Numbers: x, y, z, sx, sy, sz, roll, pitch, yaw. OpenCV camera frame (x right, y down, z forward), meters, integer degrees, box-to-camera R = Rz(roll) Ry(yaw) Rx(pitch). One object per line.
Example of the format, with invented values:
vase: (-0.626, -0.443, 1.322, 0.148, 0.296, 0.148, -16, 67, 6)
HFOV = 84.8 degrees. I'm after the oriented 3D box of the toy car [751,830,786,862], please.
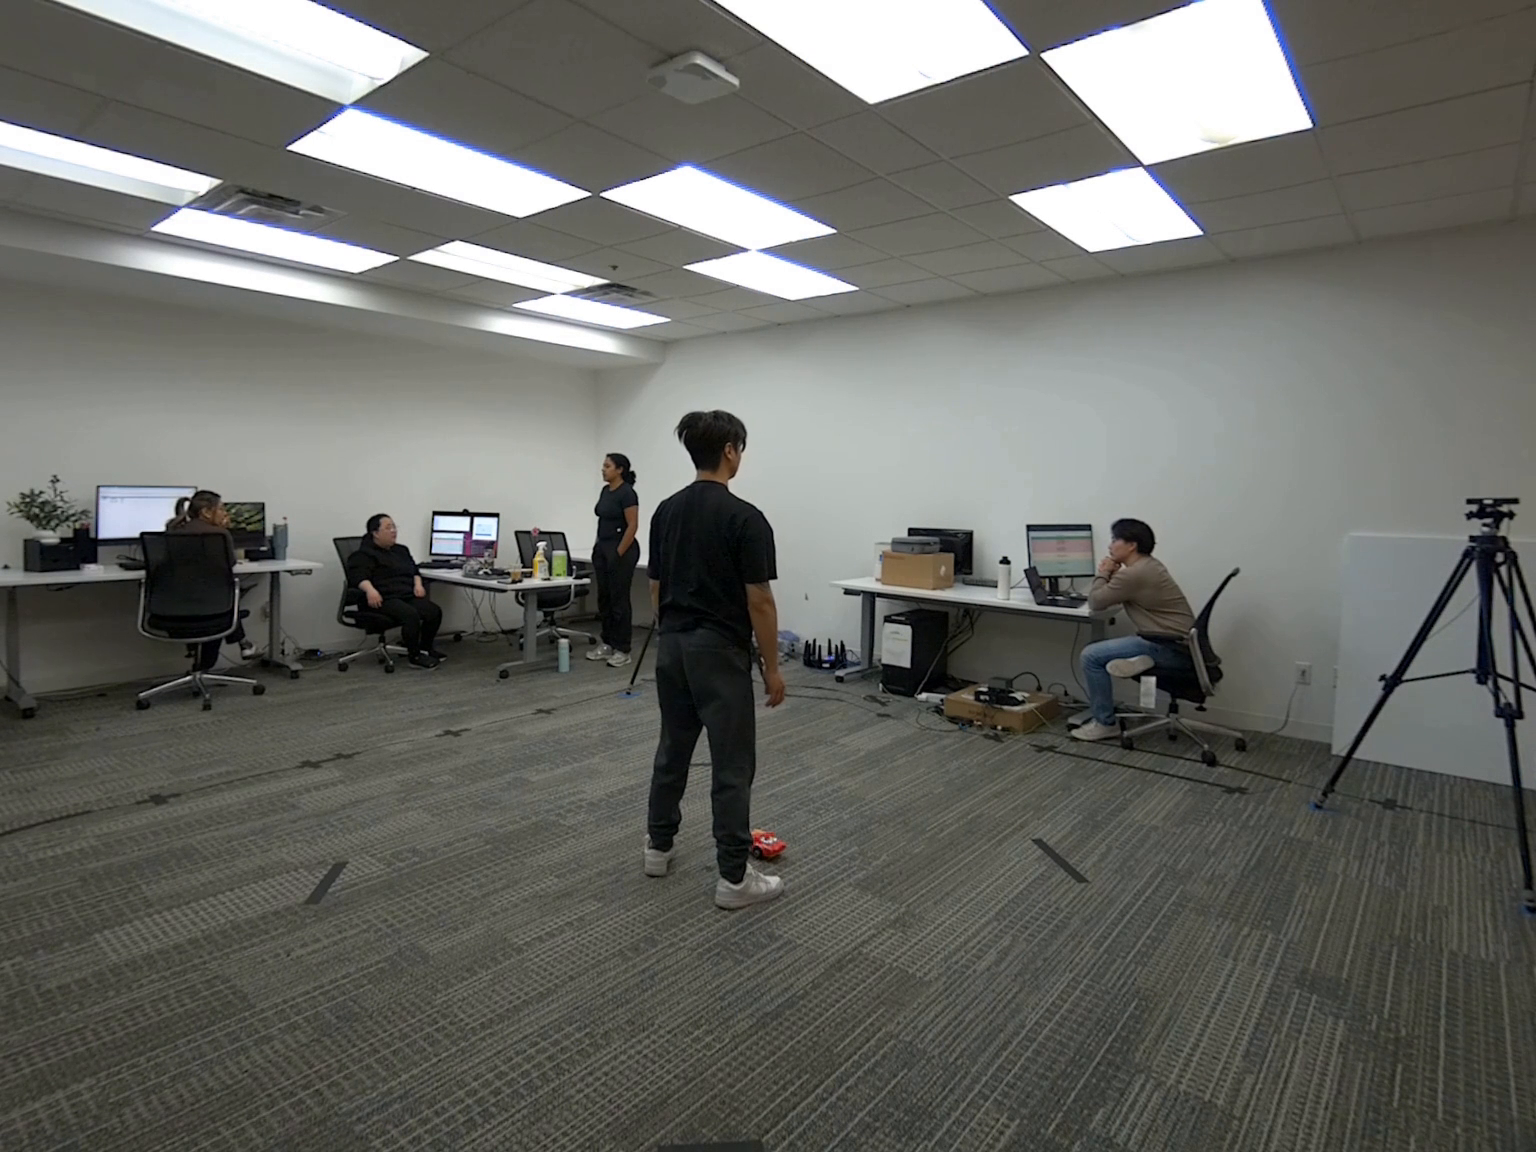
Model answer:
toy car: (-0.048, 1.025, 3.267, 0.261, 0.083, 0.126, -8, -3, 43)
